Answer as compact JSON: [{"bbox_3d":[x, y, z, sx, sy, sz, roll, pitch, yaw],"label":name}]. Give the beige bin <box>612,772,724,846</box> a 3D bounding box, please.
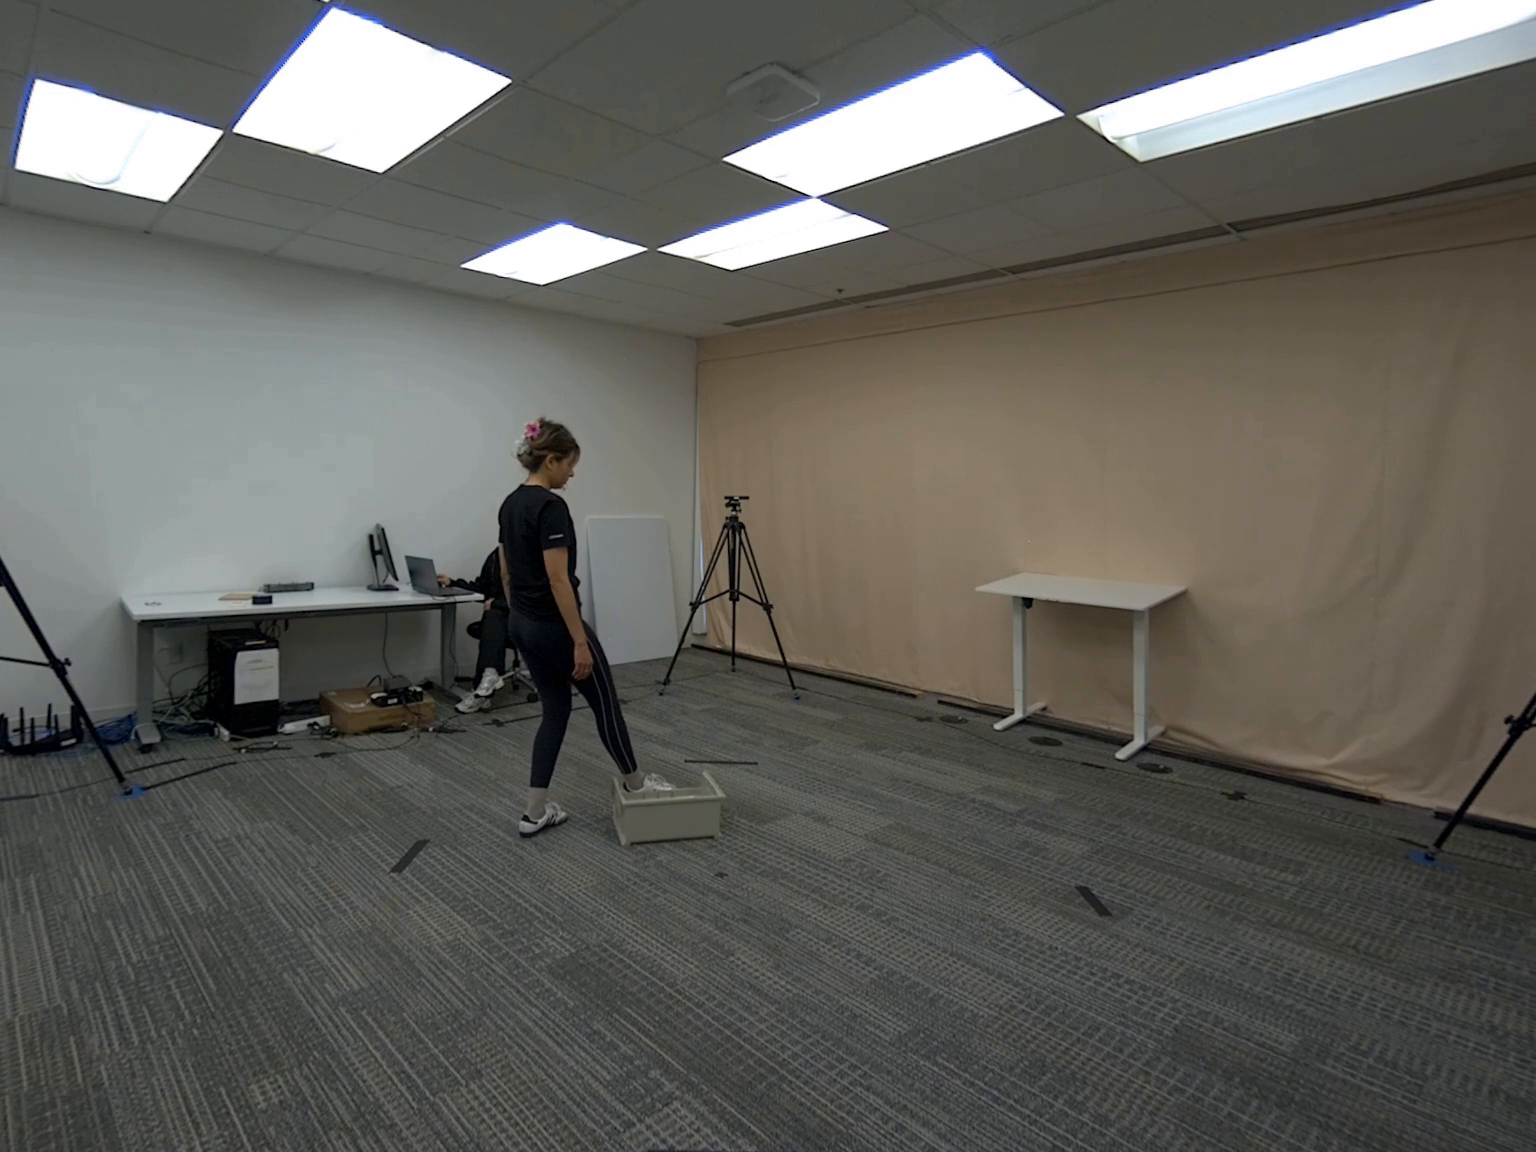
[{"bbox_3d":[-0.442,0.966,3.554,0.417,0.188,0.384,1,6,-17],"label":"beige bin"}]
